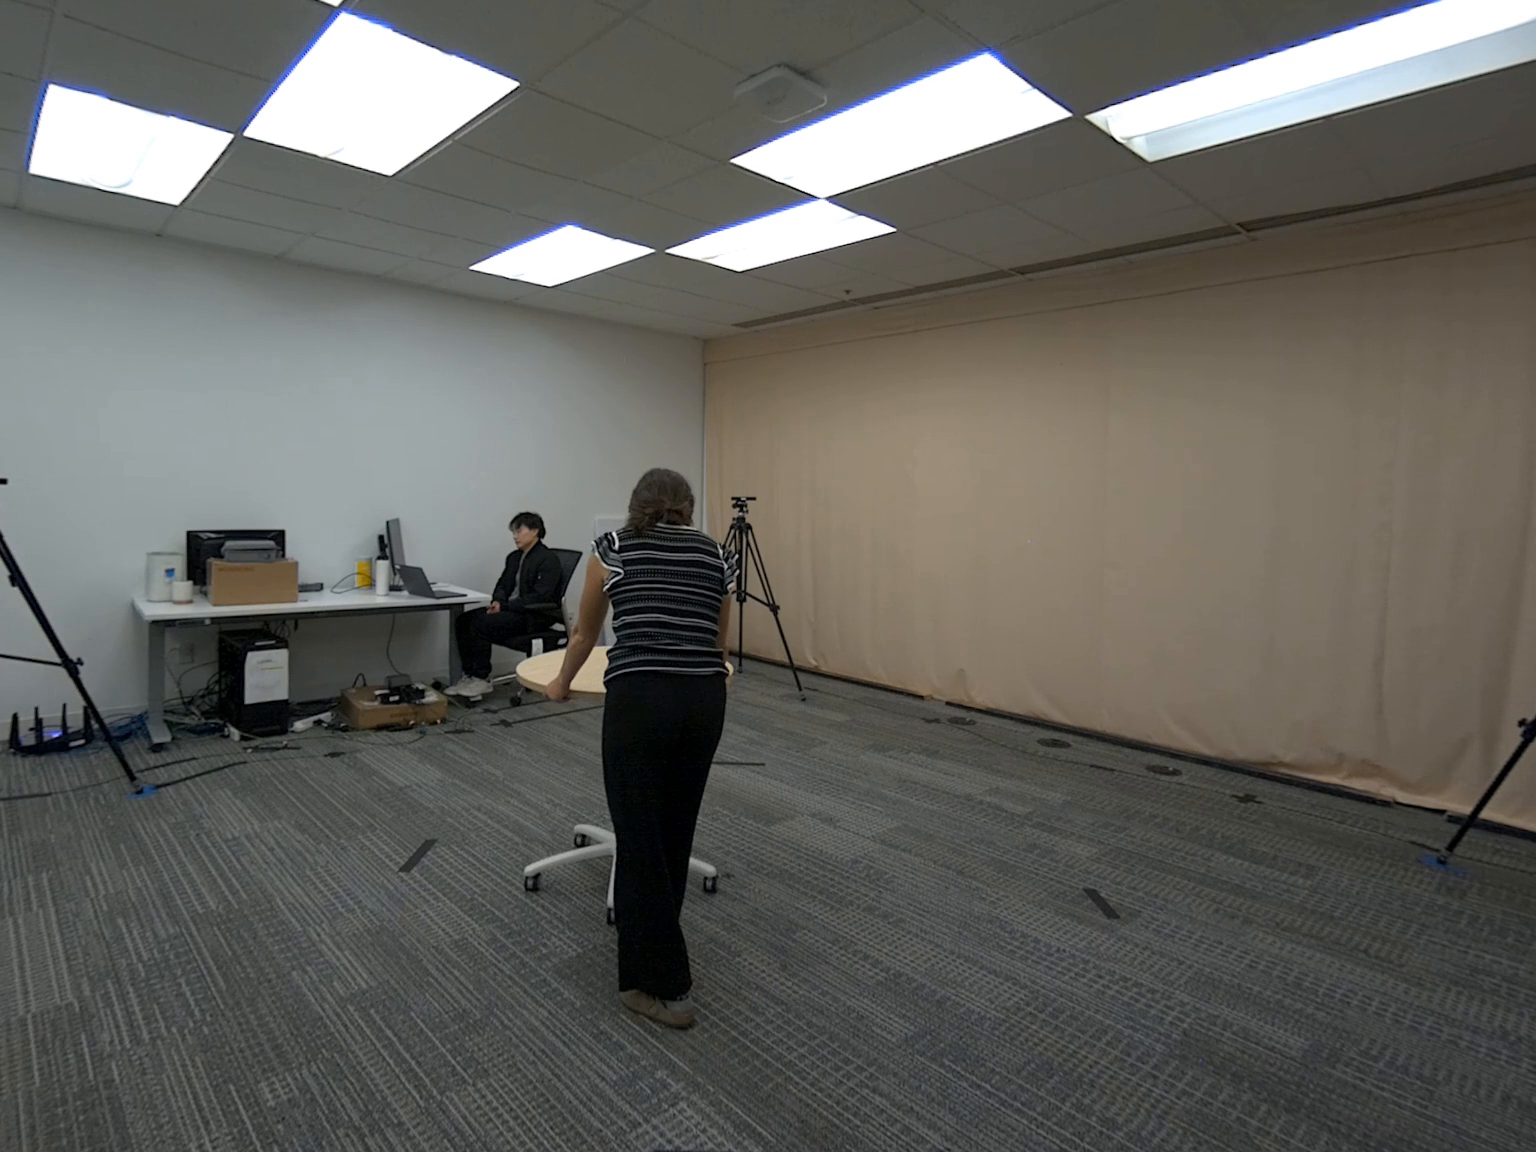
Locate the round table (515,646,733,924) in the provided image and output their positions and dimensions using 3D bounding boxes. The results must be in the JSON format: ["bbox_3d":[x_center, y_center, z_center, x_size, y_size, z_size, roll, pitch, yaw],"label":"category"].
[{"bbox_3d":[-0.519,0.719,3.043,0.763,0.791,0.767,1,5,-1],"label":"round table"}]
